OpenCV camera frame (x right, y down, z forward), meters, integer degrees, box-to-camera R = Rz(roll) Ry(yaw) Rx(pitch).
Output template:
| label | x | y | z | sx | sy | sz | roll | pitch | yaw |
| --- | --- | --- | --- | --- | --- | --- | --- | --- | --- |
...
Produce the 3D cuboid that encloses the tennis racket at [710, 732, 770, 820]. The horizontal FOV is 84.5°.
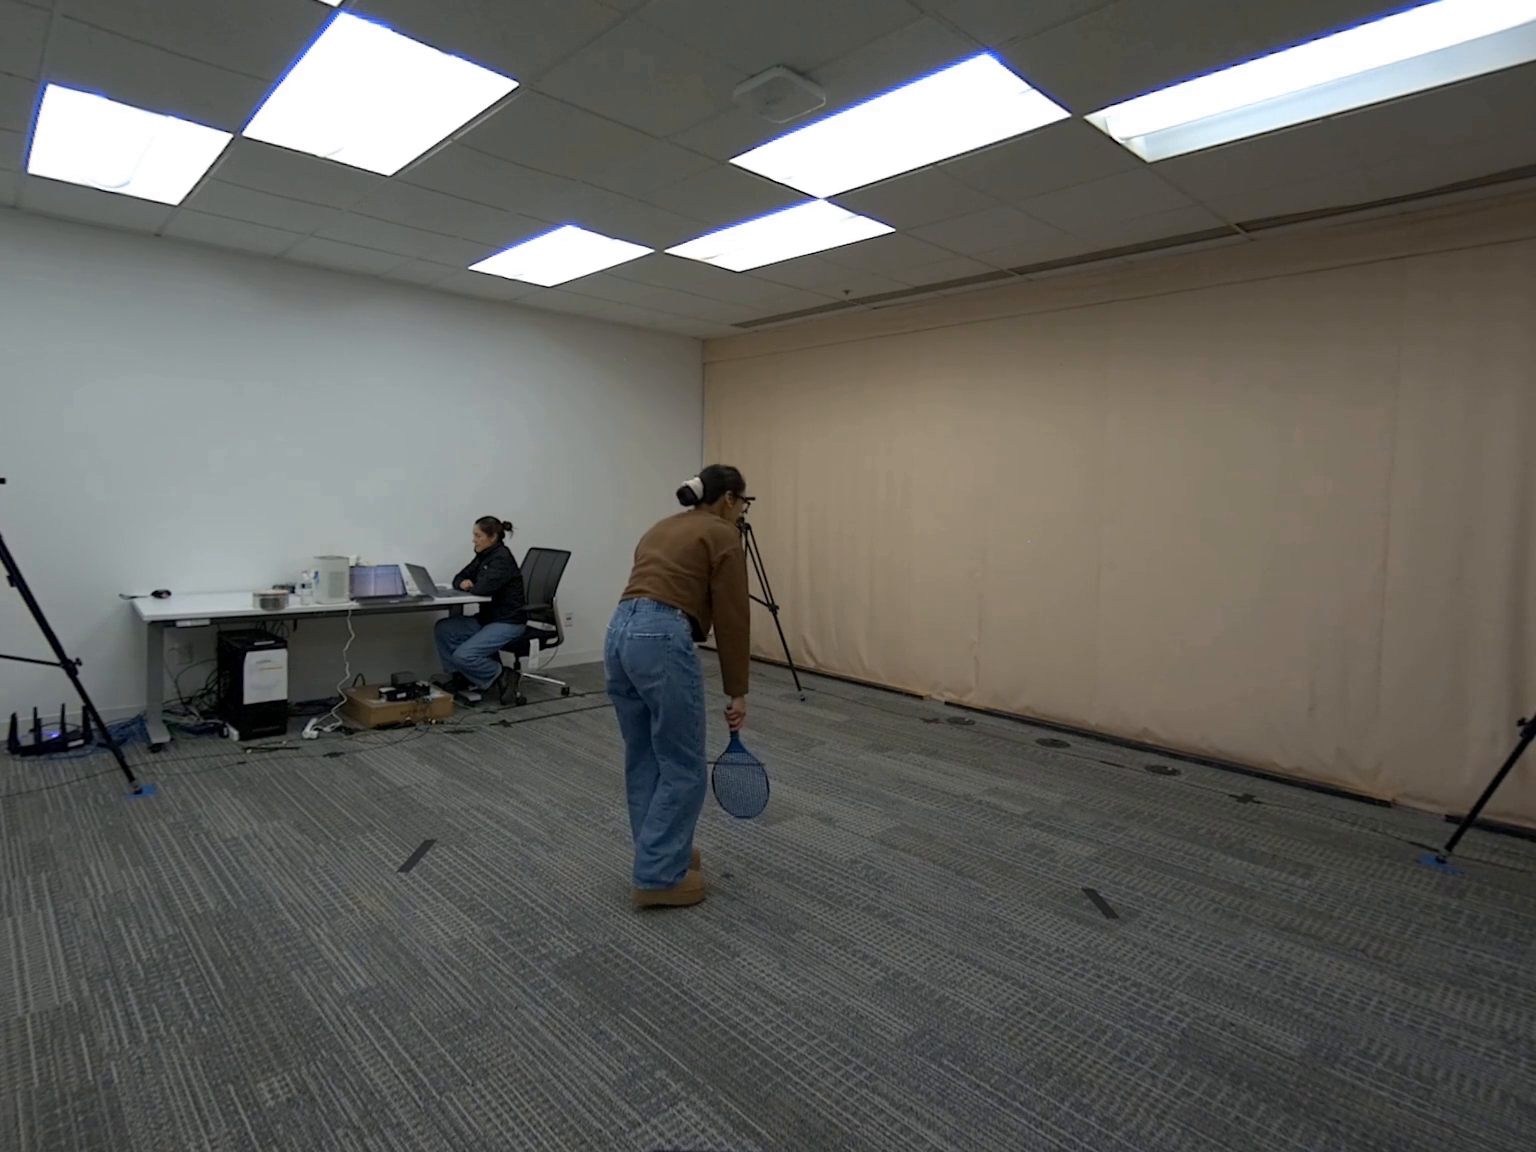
| label | x | y | z | sx | sy | sz | roll | pitch | yaw |
| --- | --- | --- | --- | --- | --- | --- | --- | --- | --- |
| tennis racket | -0.121 | 0.677 | 2.991 | 0.216 | 0.430 | 0.031 | -8 | 8 | 18 |
